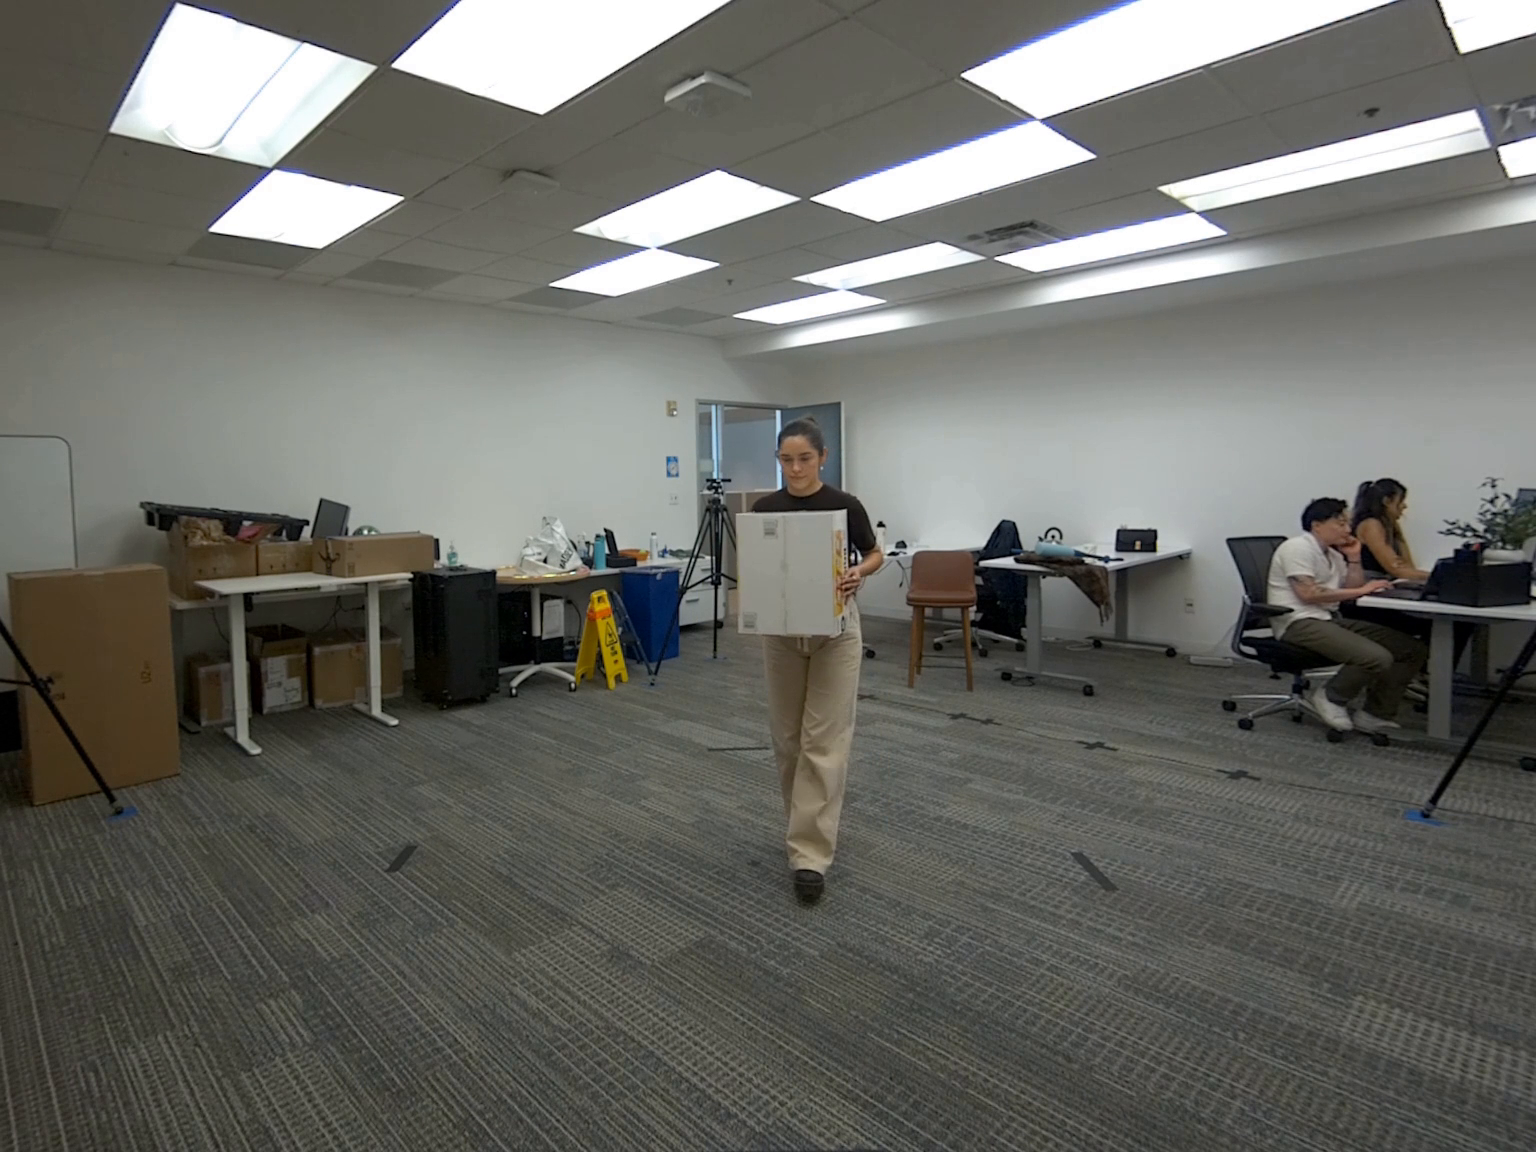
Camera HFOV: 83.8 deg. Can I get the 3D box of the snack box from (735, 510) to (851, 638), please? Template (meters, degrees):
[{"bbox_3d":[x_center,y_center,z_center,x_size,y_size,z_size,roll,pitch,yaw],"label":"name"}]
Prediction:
[{"bbox_3d":[0.088,-0.013,2.887,0.346,0.404,0.202,0,4,19],"label":"snack box"}]
